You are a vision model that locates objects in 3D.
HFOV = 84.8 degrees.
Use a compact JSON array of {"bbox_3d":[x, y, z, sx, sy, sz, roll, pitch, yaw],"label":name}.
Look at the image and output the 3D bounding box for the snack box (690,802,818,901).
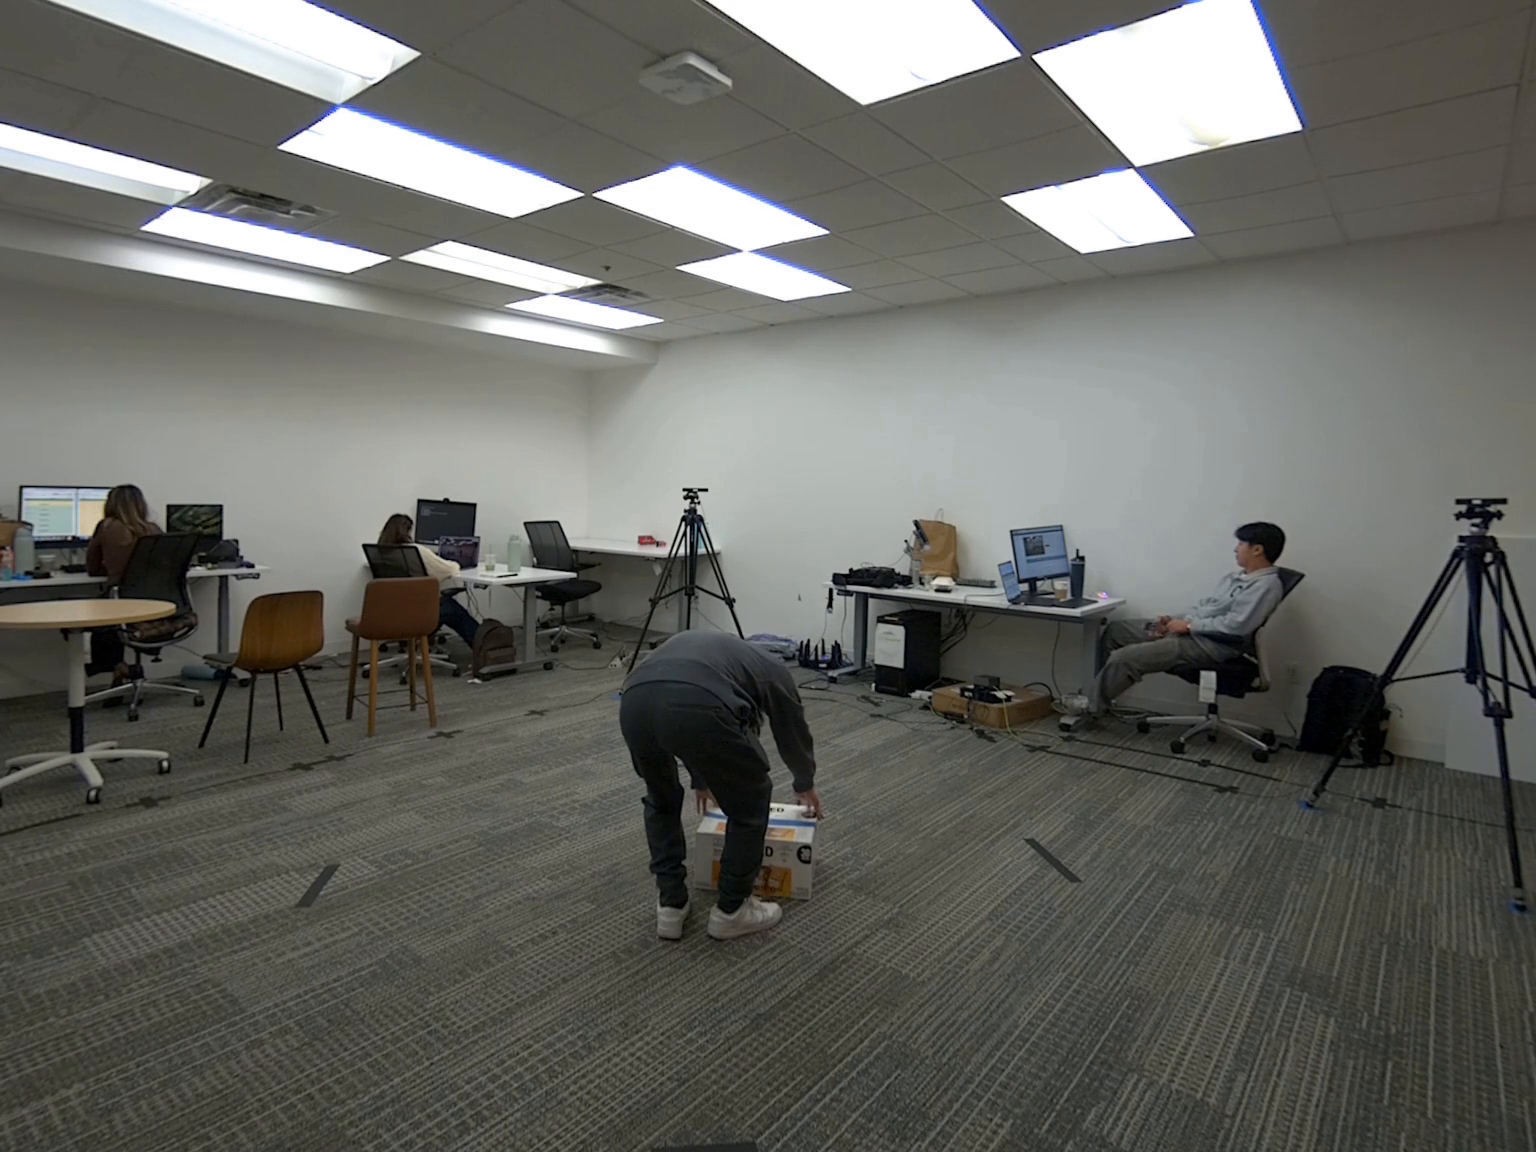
[{"bbox_3d":[-0.040,0.978,3.078,0.410,0.205,0.338,2,5,9],"label":"snack box"}]
